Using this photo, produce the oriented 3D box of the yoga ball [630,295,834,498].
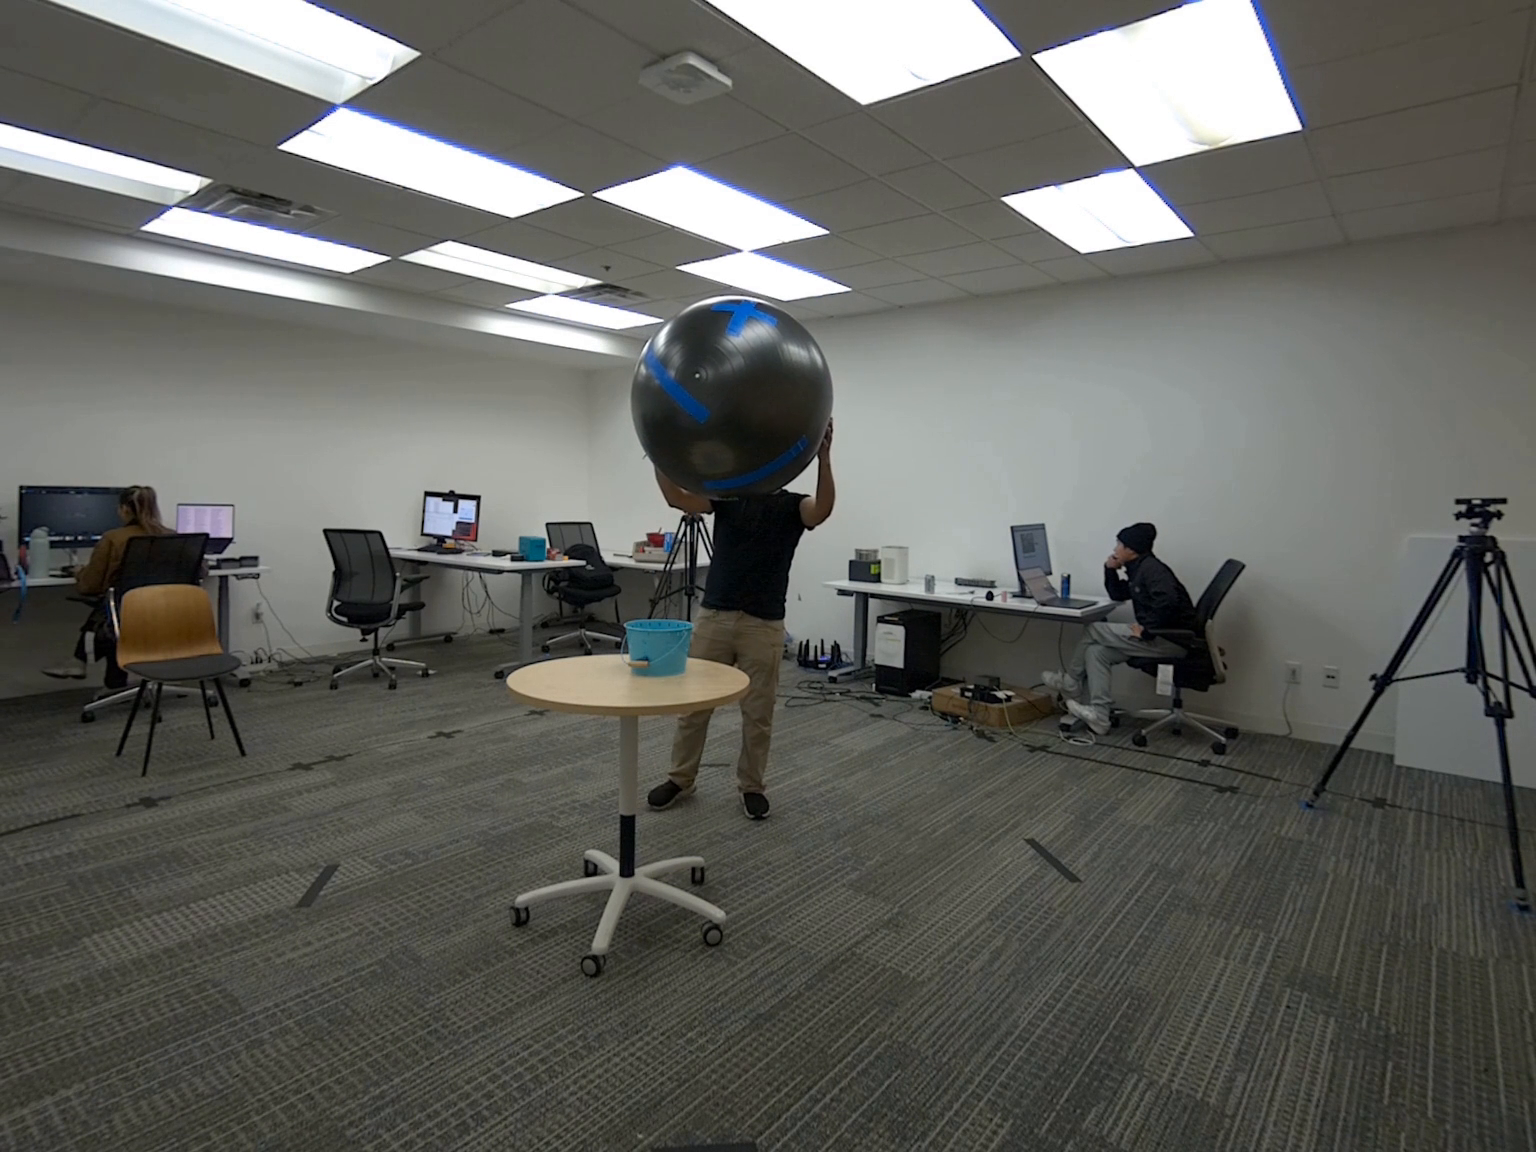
[{"bbox_3d":[-0.151,-0.659,3.197,0.757,0.755,0.762,1,4,-2],"label":"yoga ball"}]
